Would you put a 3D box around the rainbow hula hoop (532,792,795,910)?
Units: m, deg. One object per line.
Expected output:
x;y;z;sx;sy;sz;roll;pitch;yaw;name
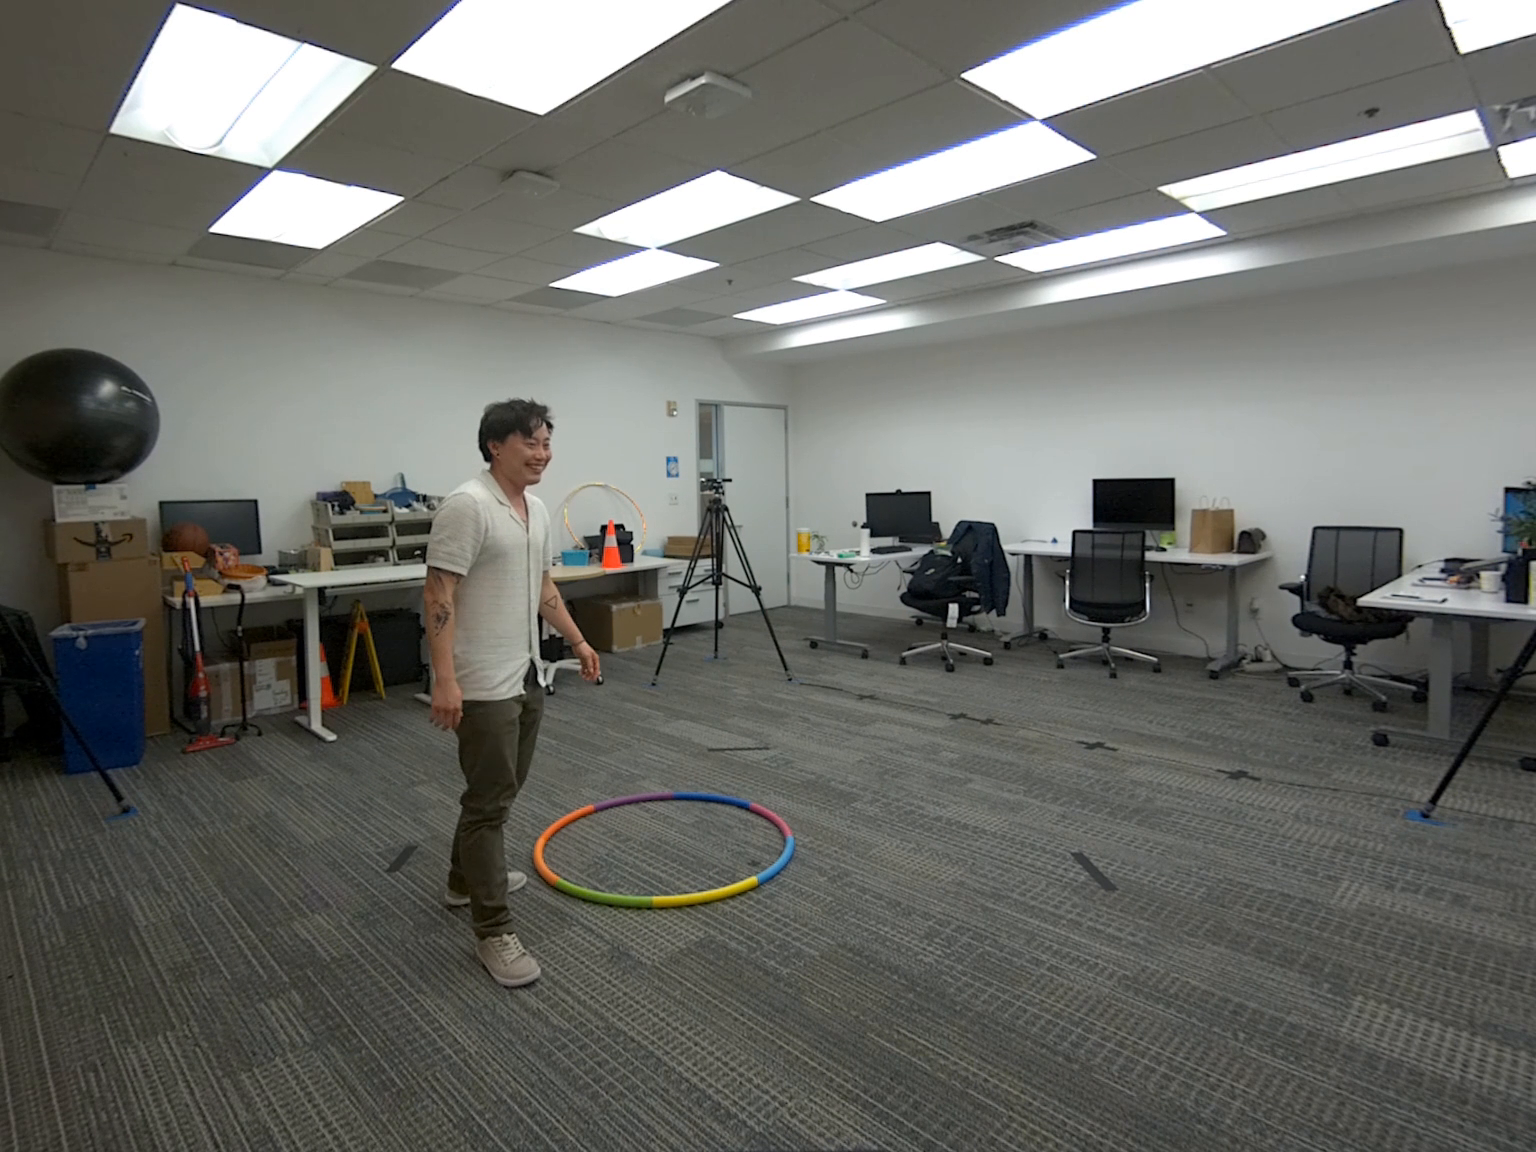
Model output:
-0.387;1.003;3.270;0.978;0.035;0.984;-1;6;-2;rainbow hula hoop
